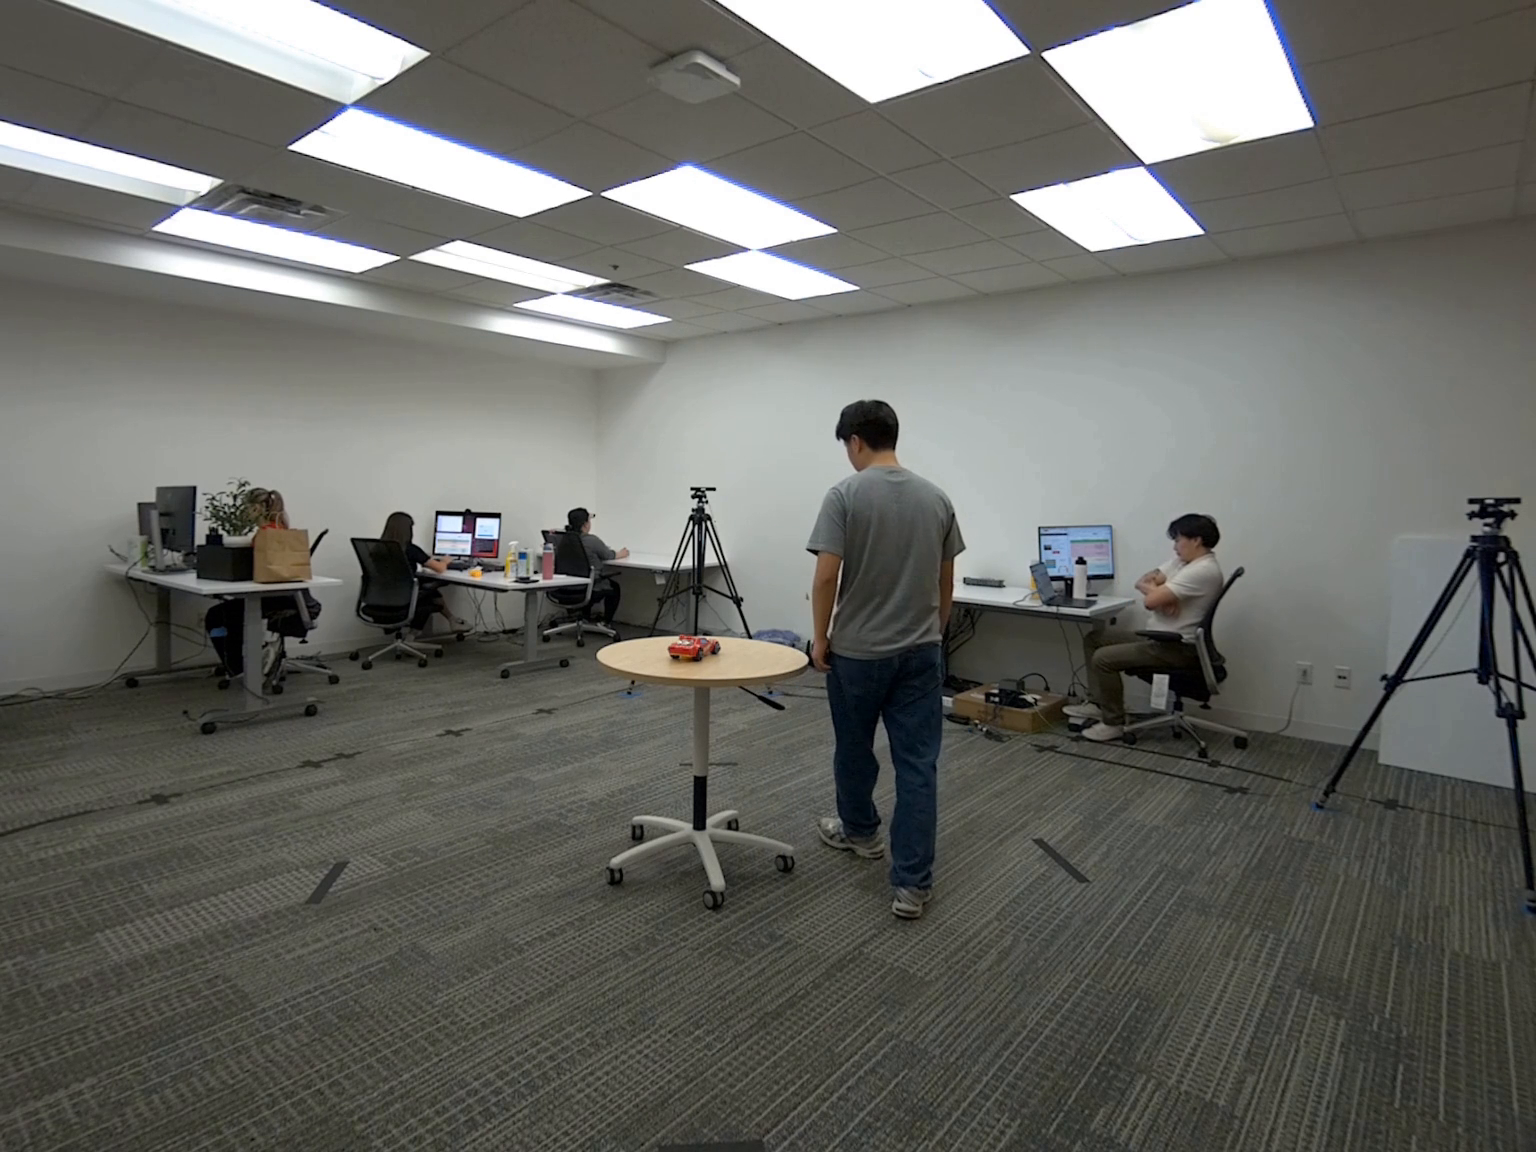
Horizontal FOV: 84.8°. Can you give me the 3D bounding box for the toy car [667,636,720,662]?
[{"bbox_3d":[-0.279,0.256,3.051,0.133,0.083,0.247,4,-5,22],"label":"toy car"}]
